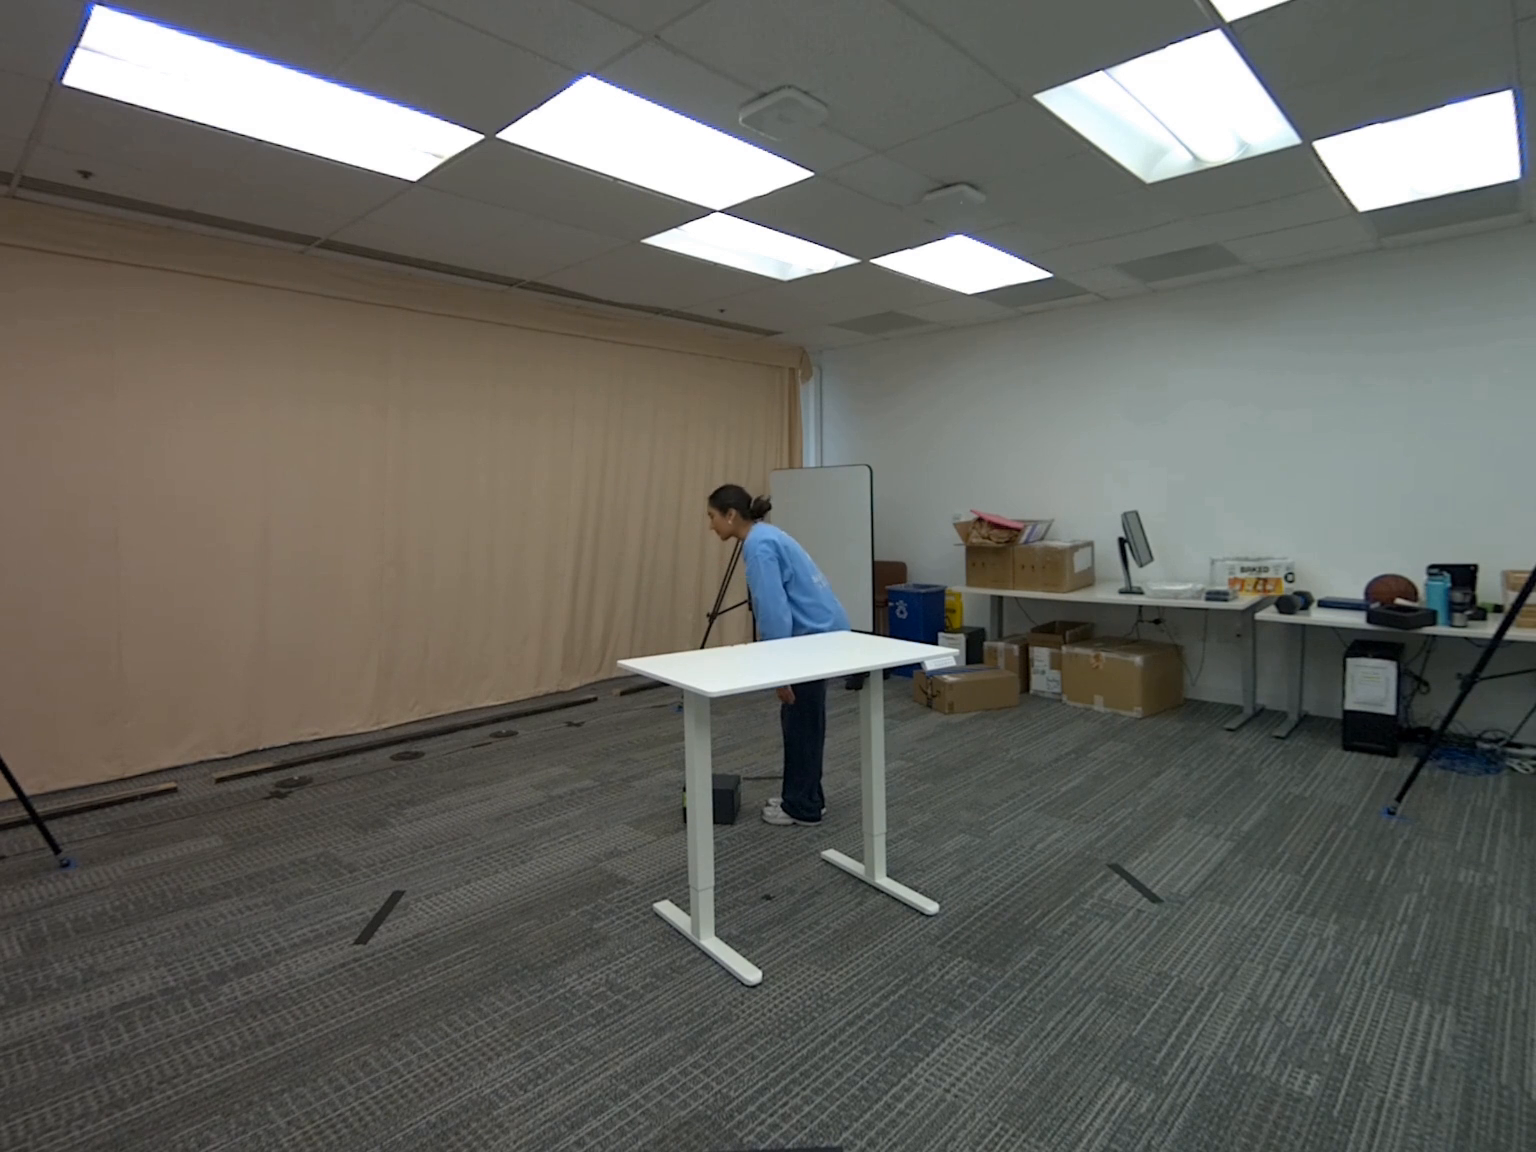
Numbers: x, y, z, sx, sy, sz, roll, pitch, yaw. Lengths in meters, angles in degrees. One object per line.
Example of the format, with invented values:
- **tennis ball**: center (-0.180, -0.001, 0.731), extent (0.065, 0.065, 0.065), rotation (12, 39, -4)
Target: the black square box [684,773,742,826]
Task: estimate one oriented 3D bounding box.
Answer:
- **black square box**: center (-0.250, 0.999, 3.797), extent (0.230, 0.156, 0.215), rotation (-1, 3, 8)
